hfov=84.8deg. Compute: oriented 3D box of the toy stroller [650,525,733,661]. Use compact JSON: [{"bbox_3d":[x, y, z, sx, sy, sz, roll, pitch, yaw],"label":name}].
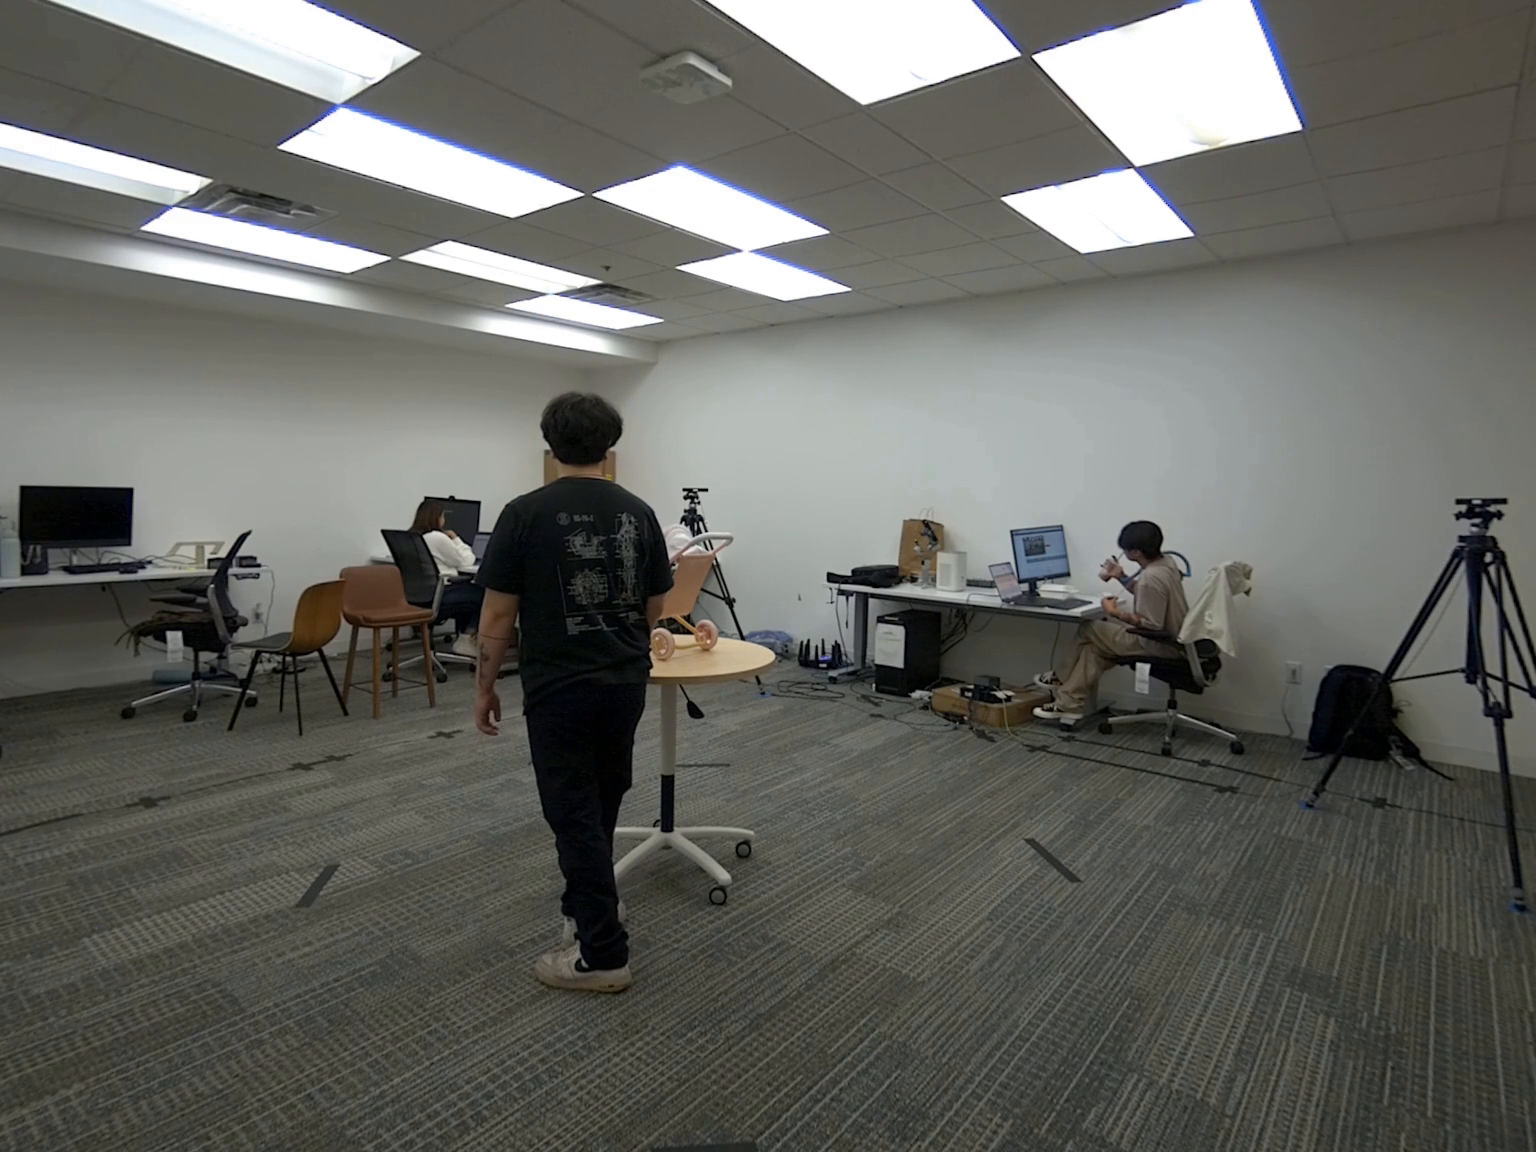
[{"bbox_3d":[-0.359,0.049,3.086,0.355,0.530,0.273,22,16,38],"label":"toy stroller"}]
